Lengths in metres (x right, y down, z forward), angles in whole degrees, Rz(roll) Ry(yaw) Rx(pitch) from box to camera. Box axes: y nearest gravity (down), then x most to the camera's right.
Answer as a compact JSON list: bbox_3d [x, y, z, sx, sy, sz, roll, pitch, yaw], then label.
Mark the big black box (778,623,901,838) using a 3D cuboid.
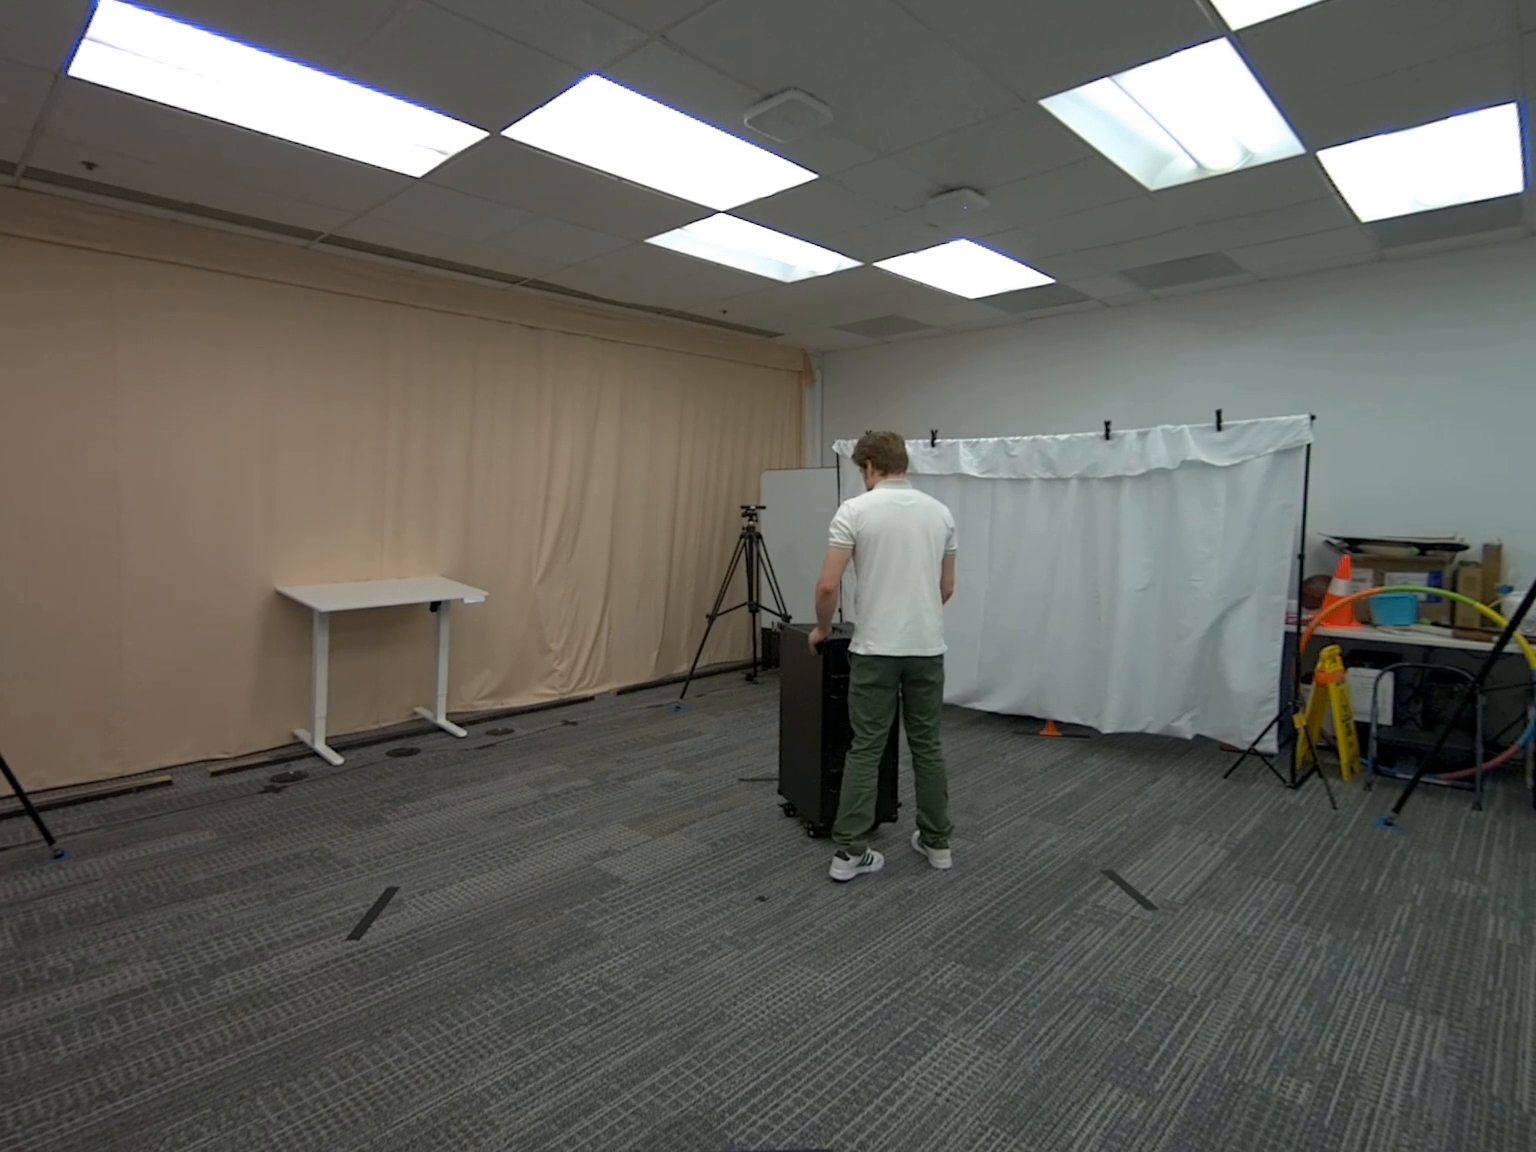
[{"bbox_3d":[0.299,0.664,3.693,0.378,0.867,0.533,0,3,-18],"label":"big black box"}]
